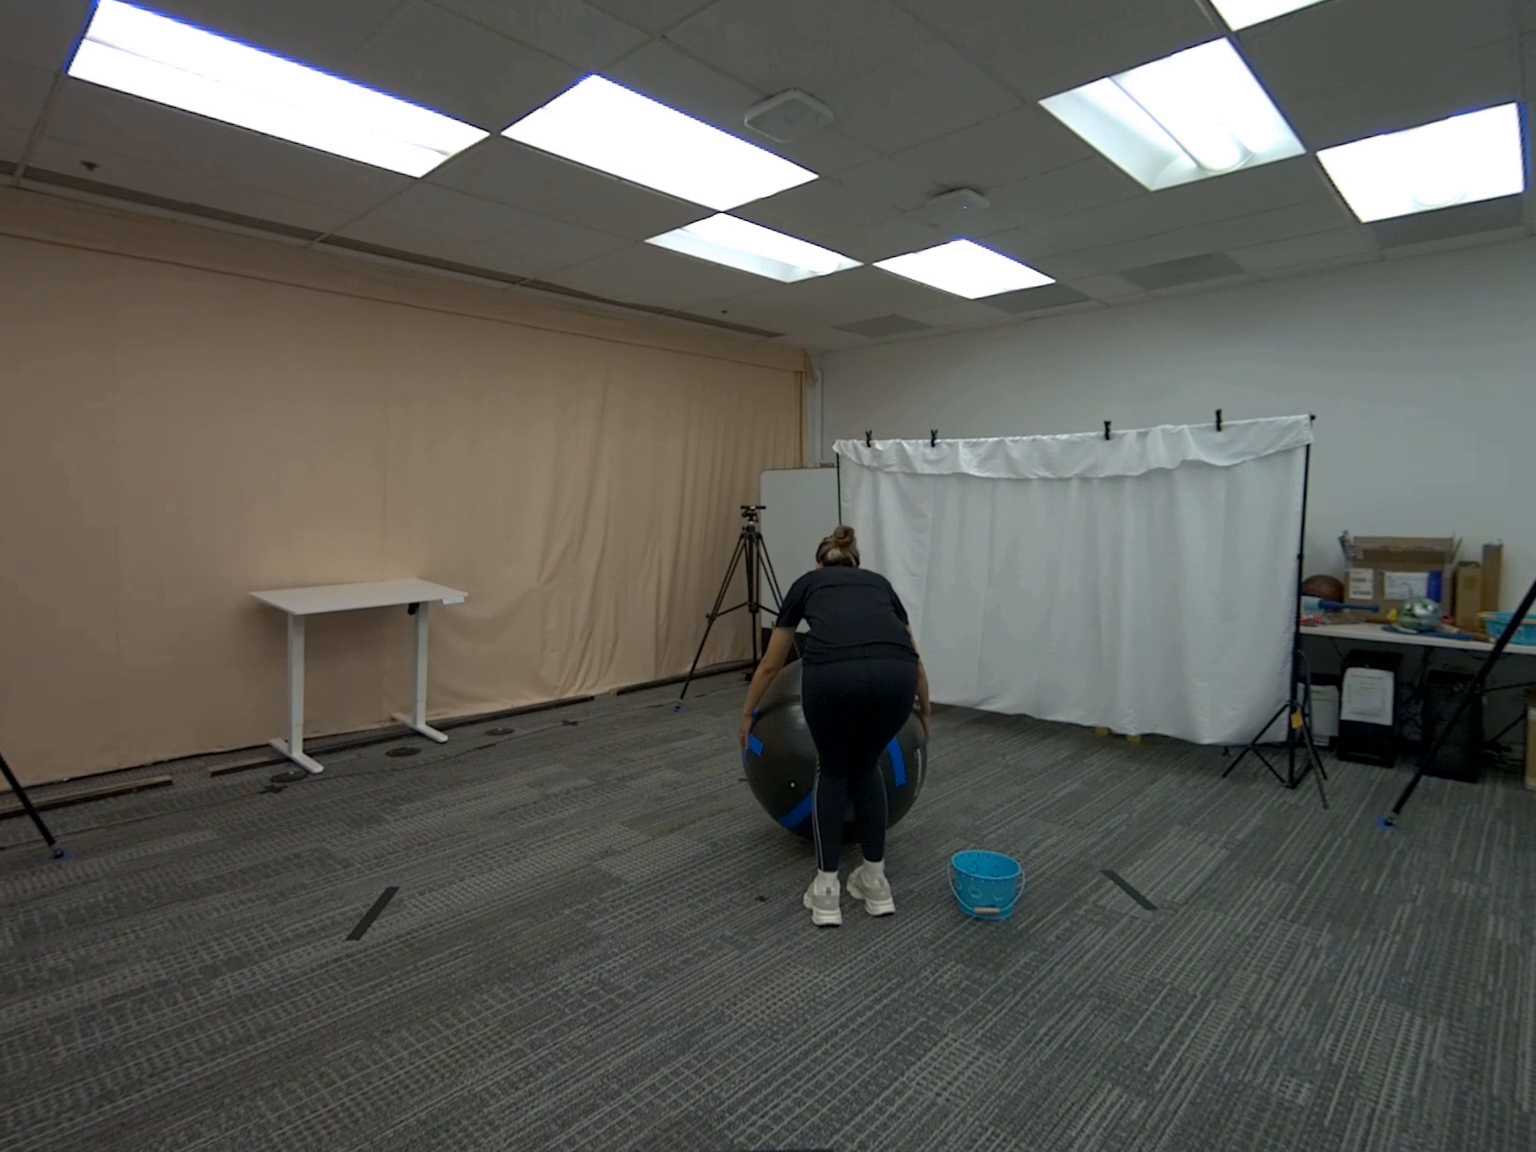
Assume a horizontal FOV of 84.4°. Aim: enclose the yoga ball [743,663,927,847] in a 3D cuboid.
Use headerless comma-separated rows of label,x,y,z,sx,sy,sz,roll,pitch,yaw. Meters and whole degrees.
yoga ball,0.267,0.692,3.453,0.757,0.756,0.761,0,4,-2
